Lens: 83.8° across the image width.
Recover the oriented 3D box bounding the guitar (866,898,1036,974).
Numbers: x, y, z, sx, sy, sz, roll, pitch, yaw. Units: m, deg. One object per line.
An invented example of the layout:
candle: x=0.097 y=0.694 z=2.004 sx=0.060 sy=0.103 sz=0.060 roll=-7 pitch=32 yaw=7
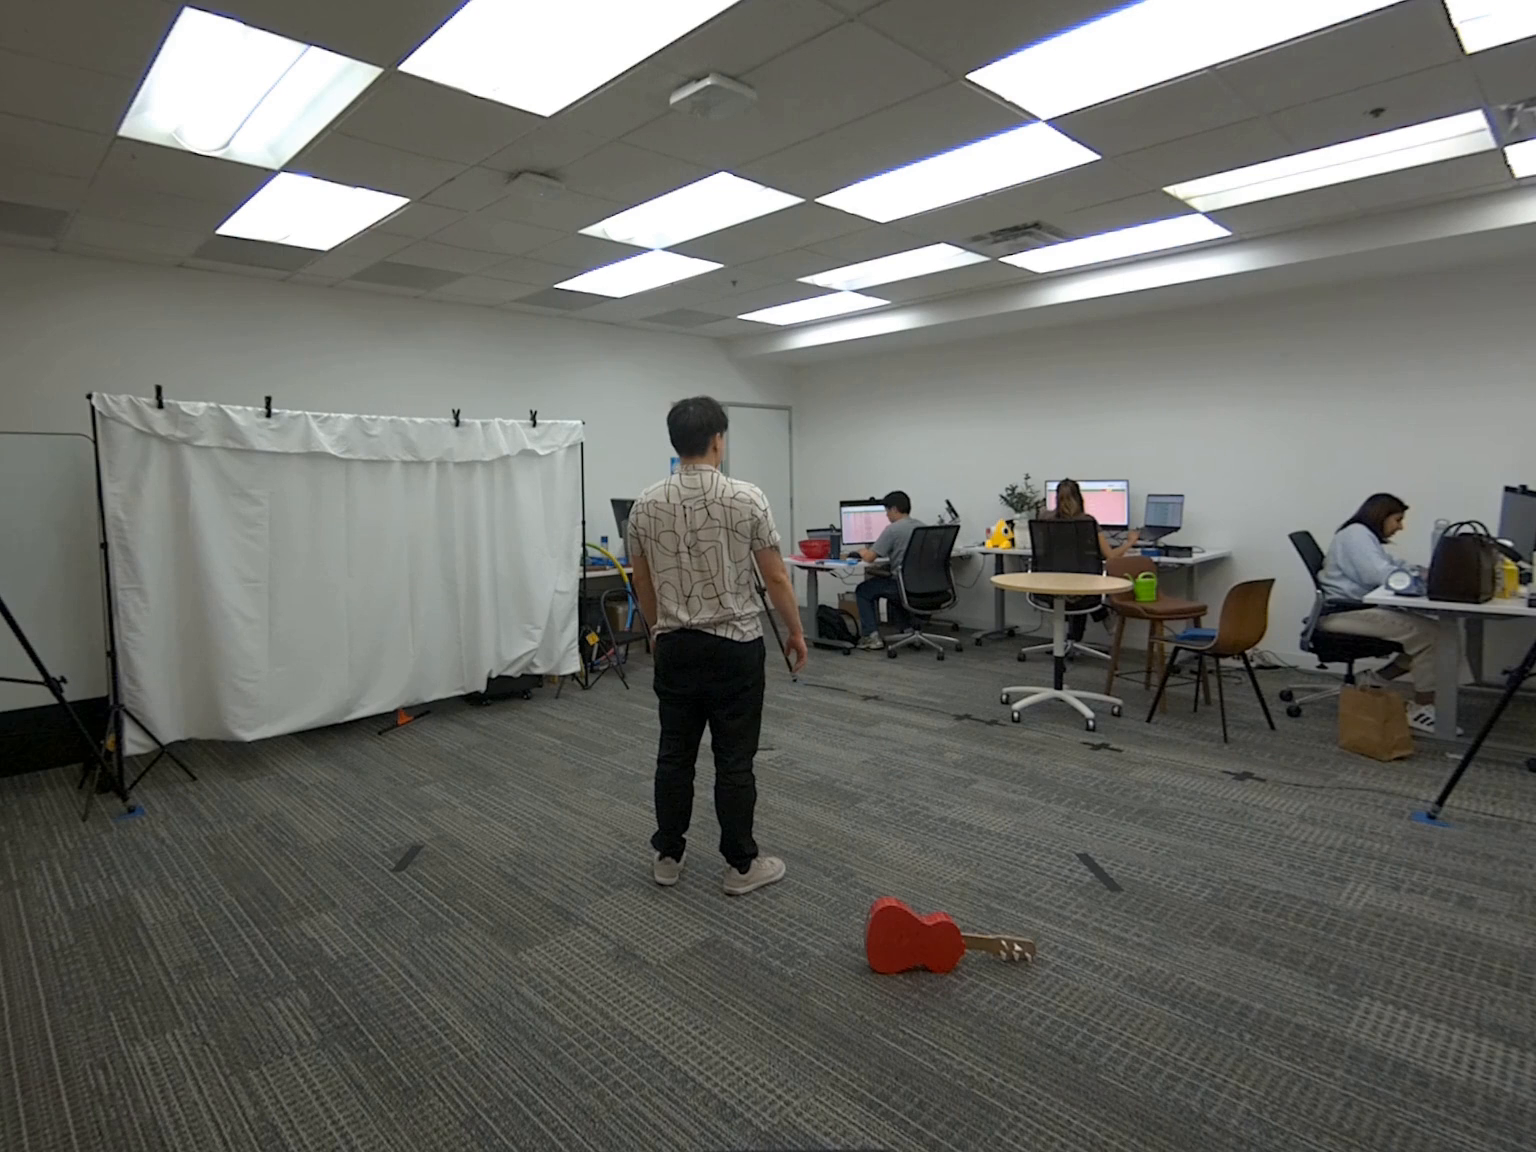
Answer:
guitar: x=0.533 y=1.025 z=2.432 sx=0.497 sy=0.193 sz=0.071 roll=-1 pitch=-1 yaw=-1
